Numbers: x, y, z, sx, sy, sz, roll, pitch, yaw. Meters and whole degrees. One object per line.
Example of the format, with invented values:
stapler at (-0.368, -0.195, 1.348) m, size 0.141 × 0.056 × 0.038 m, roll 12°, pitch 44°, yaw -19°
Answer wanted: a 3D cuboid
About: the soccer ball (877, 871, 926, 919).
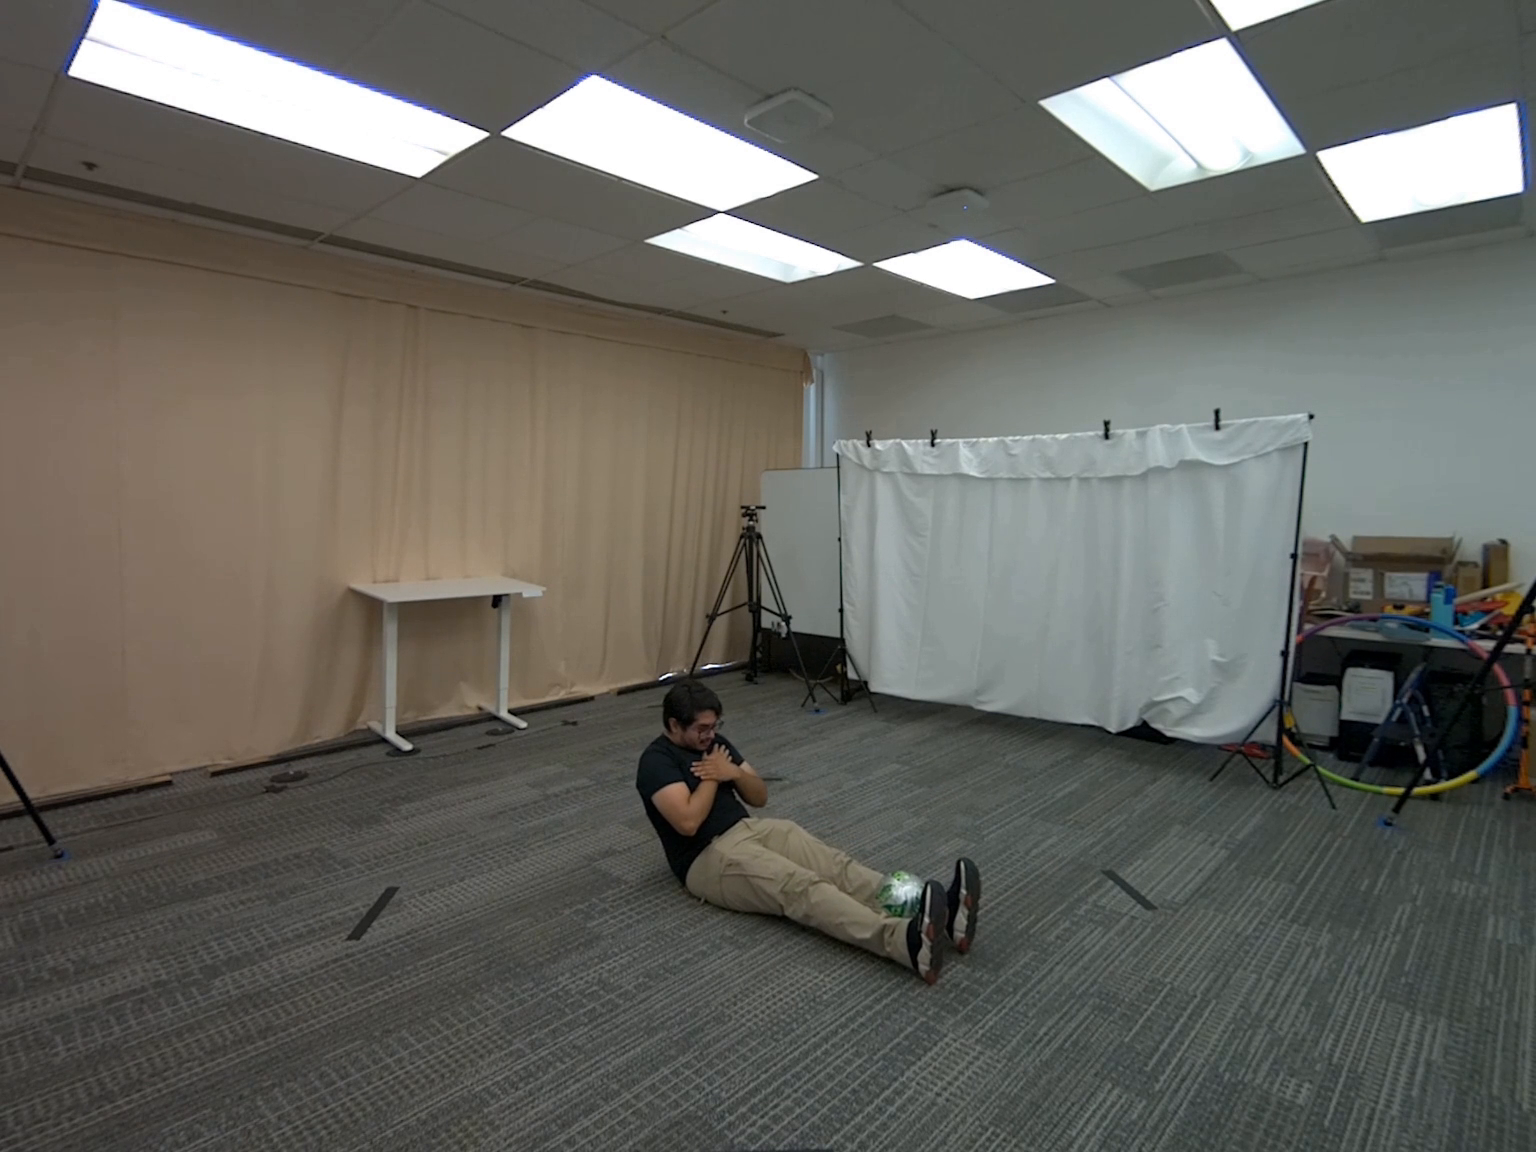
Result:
soccer ball at (0.434, 1.030, 2.626) m, size 0.187 × 0.187 × 0.188 m, roll 0°, pitch 4°, yaw -2°
